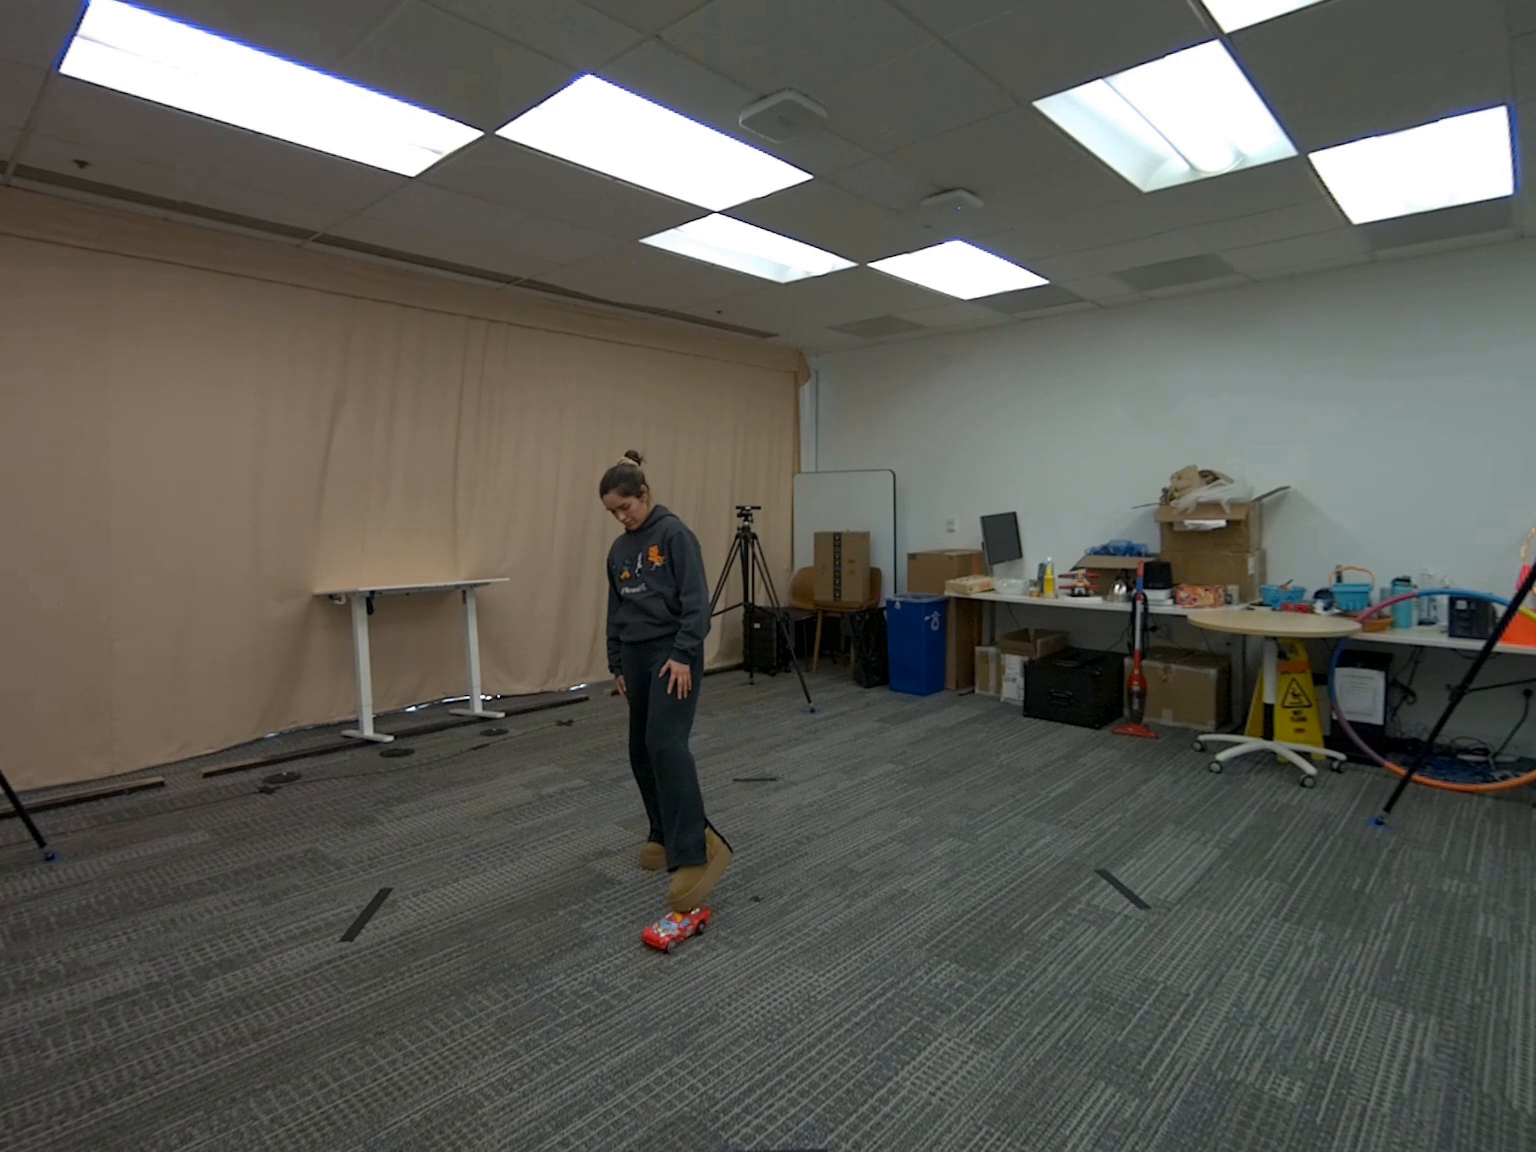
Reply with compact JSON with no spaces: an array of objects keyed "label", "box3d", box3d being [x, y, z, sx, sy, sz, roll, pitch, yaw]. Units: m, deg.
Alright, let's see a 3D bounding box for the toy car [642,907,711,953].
[{"label":"toy car","box3d":[-0.269,1.137,2.728,0.134,0.082,0.249,2,16,39]}]
